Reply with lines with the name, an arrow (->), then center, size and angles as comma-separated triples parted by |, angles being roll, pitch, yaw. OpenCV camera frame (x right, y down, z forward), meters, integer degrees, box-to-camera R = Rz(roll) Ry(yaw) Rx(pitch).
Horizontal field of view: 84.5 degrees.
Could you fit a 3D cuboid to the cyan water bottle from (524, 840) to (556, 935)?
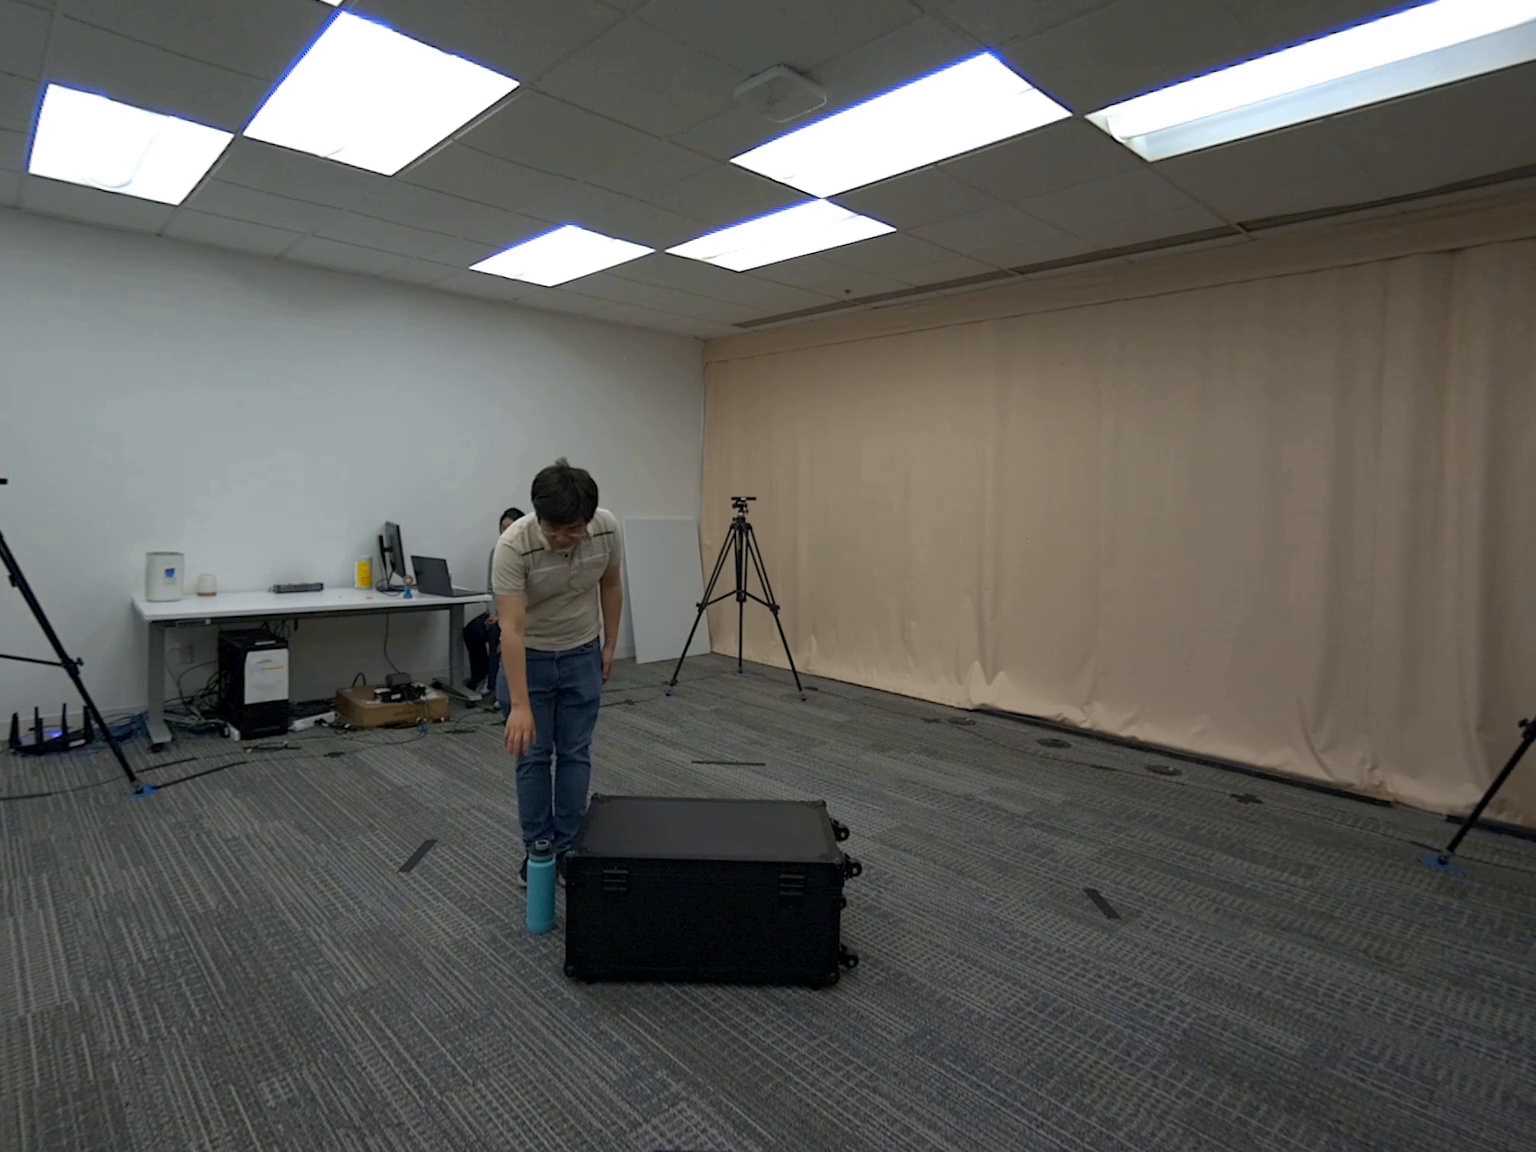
cyan water bottle -> -0.727, 0.988, 2.699 | 0.092, 0.282, 0.093 | 1, 6, -1
